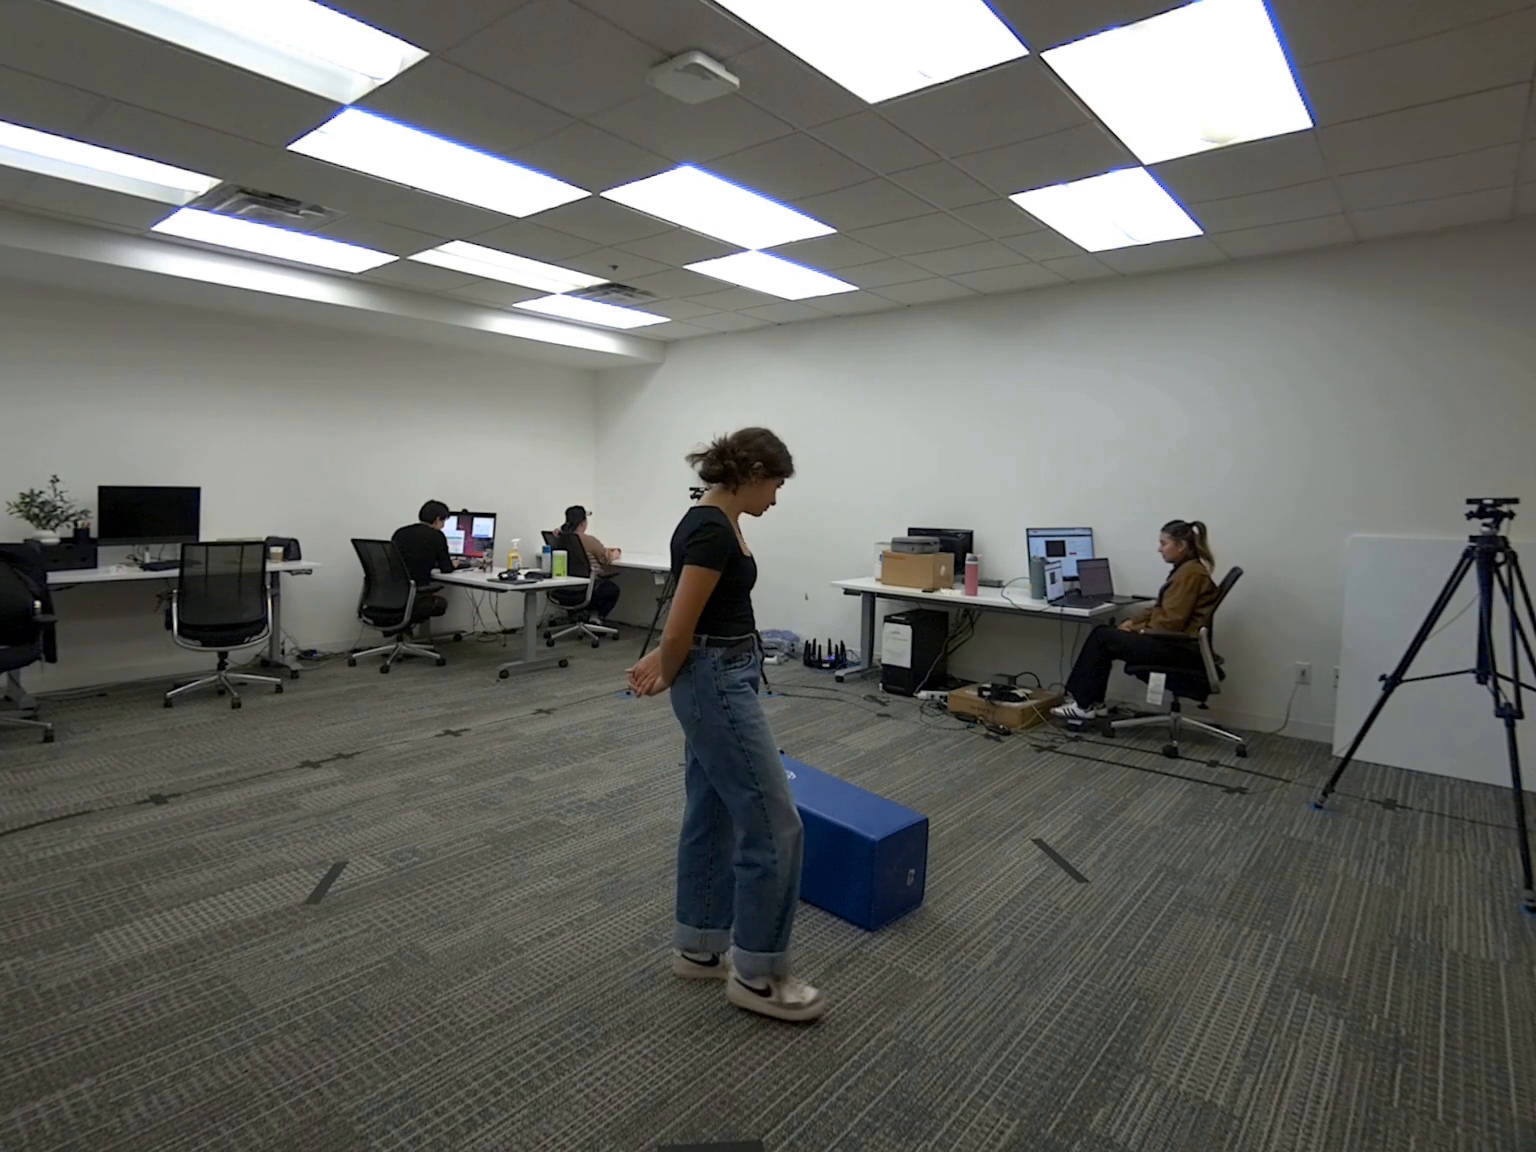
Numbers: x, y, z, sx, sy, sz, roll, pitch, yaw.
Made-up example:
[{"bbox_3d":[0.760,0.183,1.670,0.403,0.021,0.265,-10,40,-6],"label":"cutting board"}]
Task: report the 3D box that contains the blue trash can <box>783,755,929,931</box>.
[{"bbox_3d":[0.170,0.916,3.018,0.740,0.376,0.362,10,9,44],"label":"blue trash can"}]
